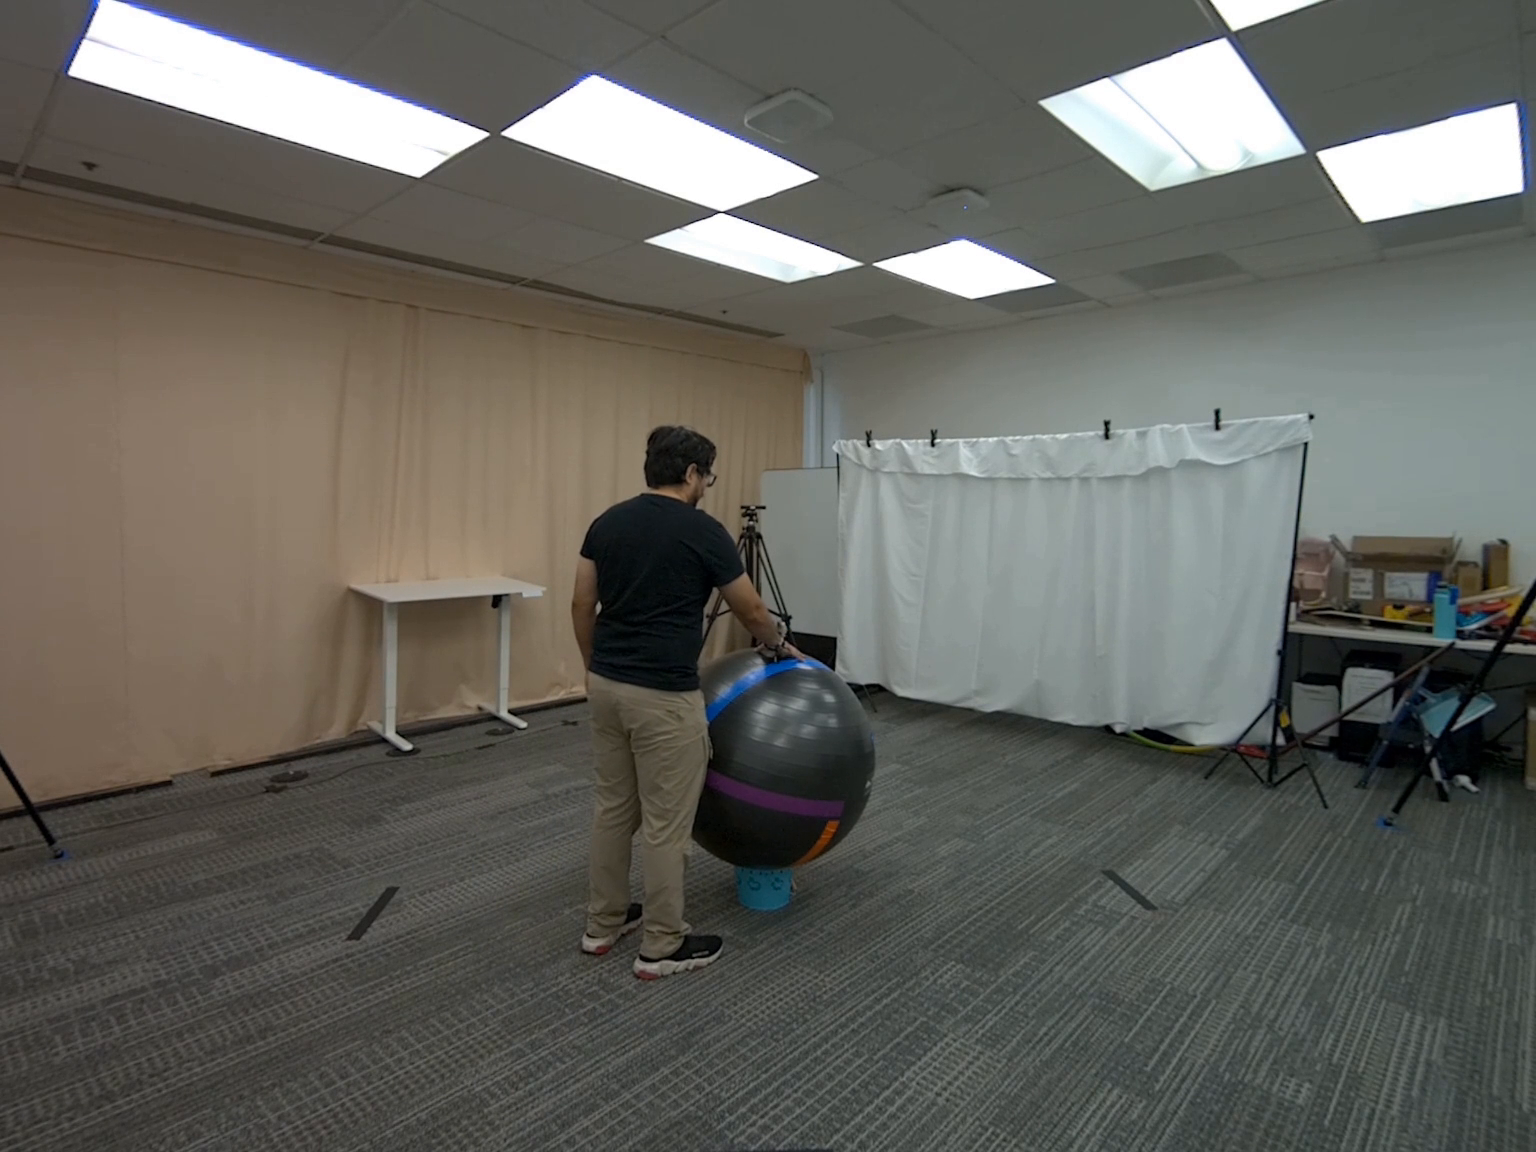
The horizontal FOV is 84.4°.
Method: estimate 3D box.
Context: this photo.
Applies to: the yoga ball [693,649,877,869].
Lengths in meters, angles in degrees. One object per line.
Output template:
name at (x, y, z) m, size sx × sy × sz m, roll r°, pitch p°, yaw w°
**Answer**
yoga ball at (0.003, 0.639, 2.971) m, size 0.757 × 0.756 × 0.760 m, roll 0°, pitch 4°, yaw -2°
